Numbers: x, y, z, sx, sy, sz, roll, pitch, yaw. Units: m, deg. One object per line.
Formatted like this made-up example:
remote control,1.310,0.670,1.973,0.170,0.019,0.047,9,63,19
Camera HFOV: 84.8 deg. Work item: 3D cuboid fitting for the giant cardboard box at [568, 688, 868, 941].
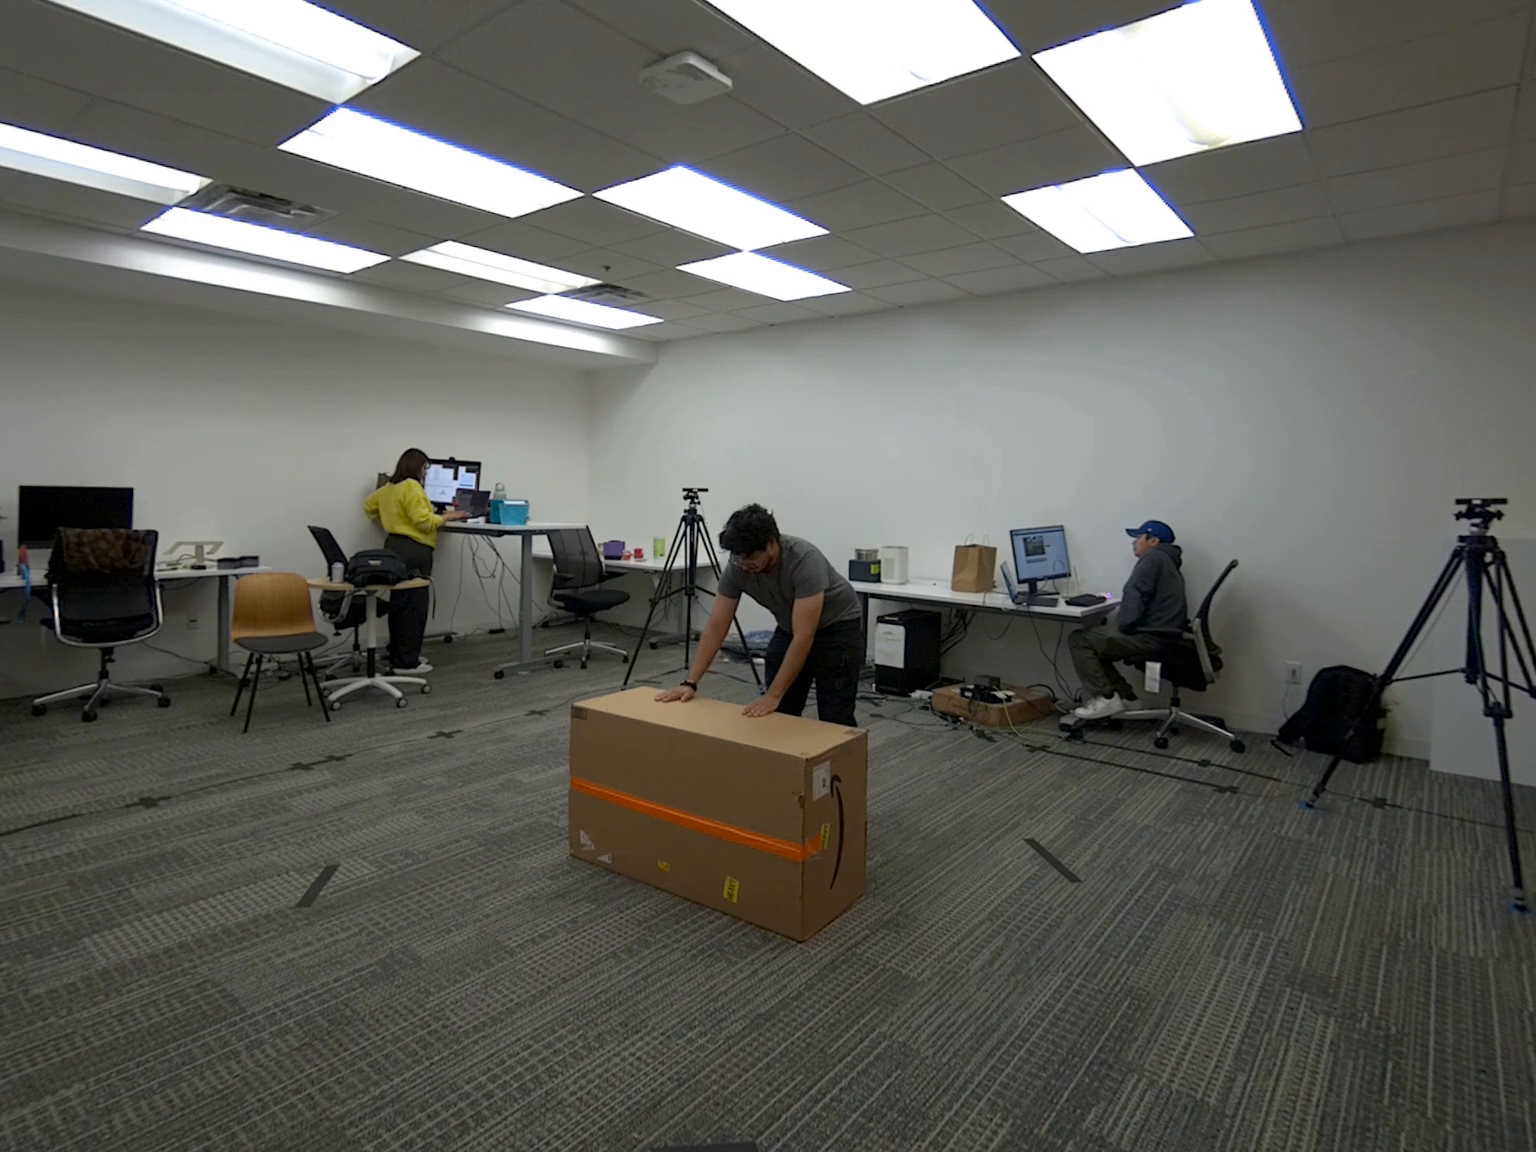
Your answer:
giant cardboard box,-0.214,0.784,3.056,1.059,0.576,0.414,4,4,35
